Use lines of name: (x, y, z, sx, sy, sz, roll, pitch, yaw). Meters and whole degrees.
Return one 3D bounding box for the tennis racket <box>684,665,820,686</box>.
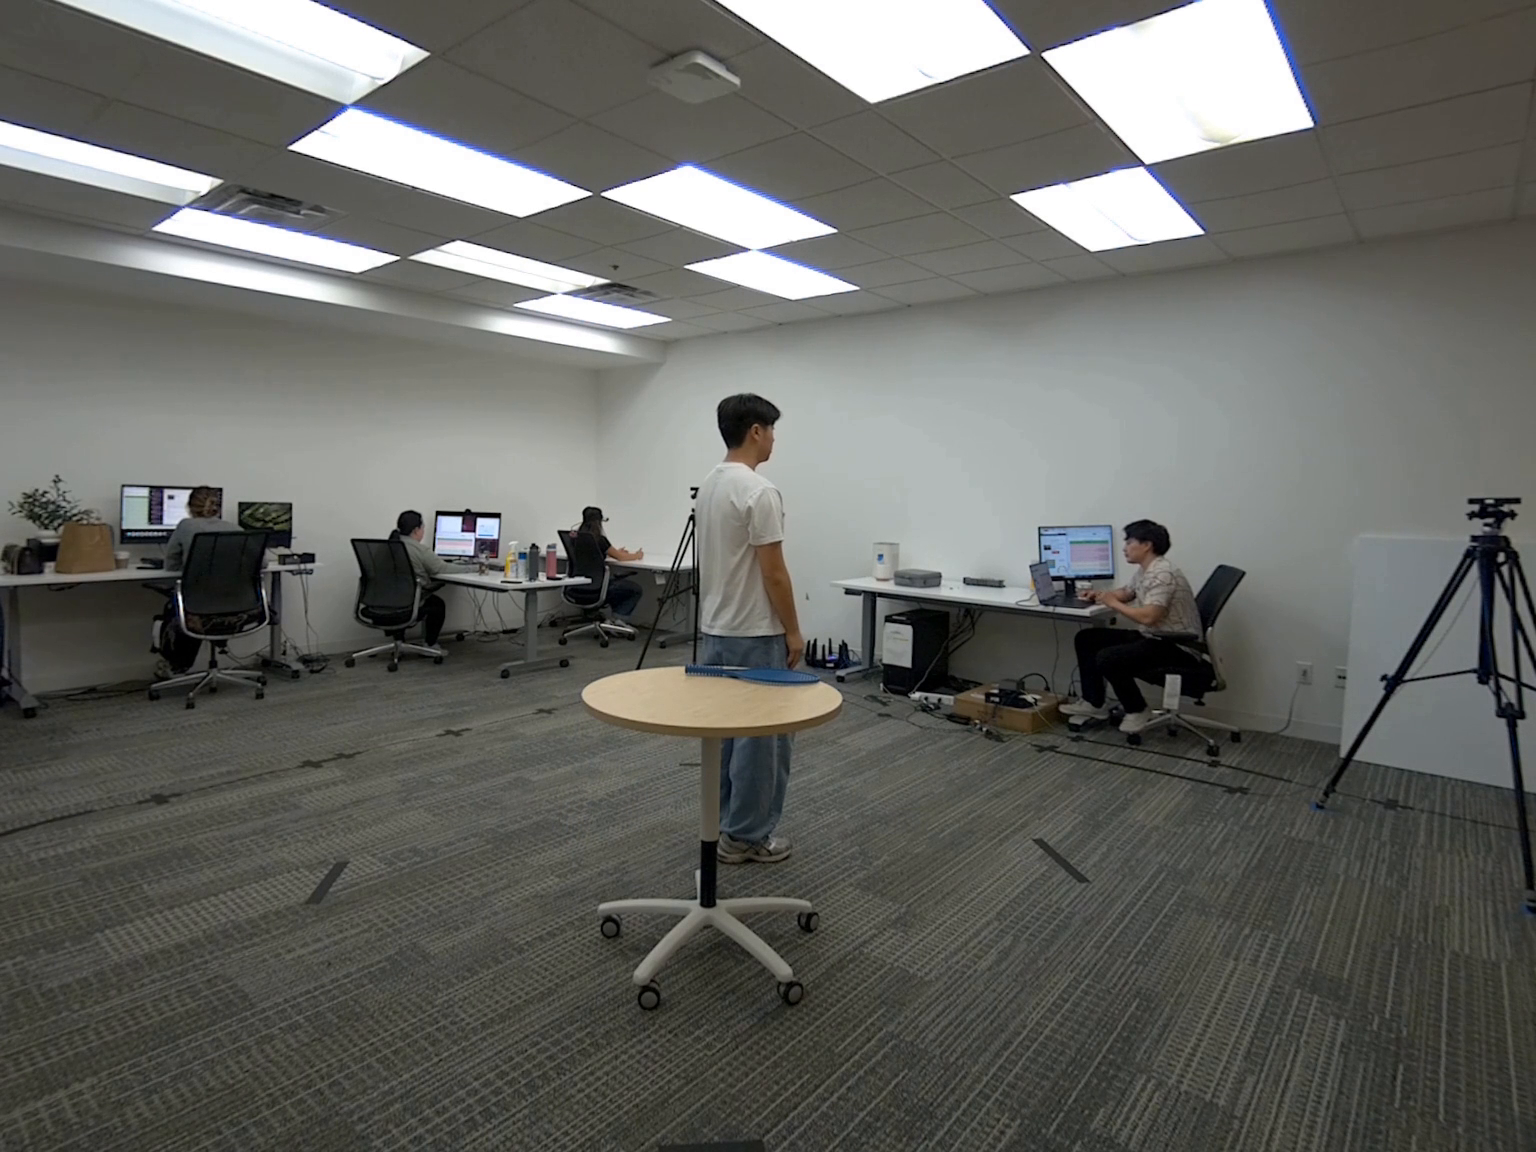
tennis racket: (-0.066, 0.312, 2.735, 0.435, 0.032, 0.213, 3, 3, 4)
